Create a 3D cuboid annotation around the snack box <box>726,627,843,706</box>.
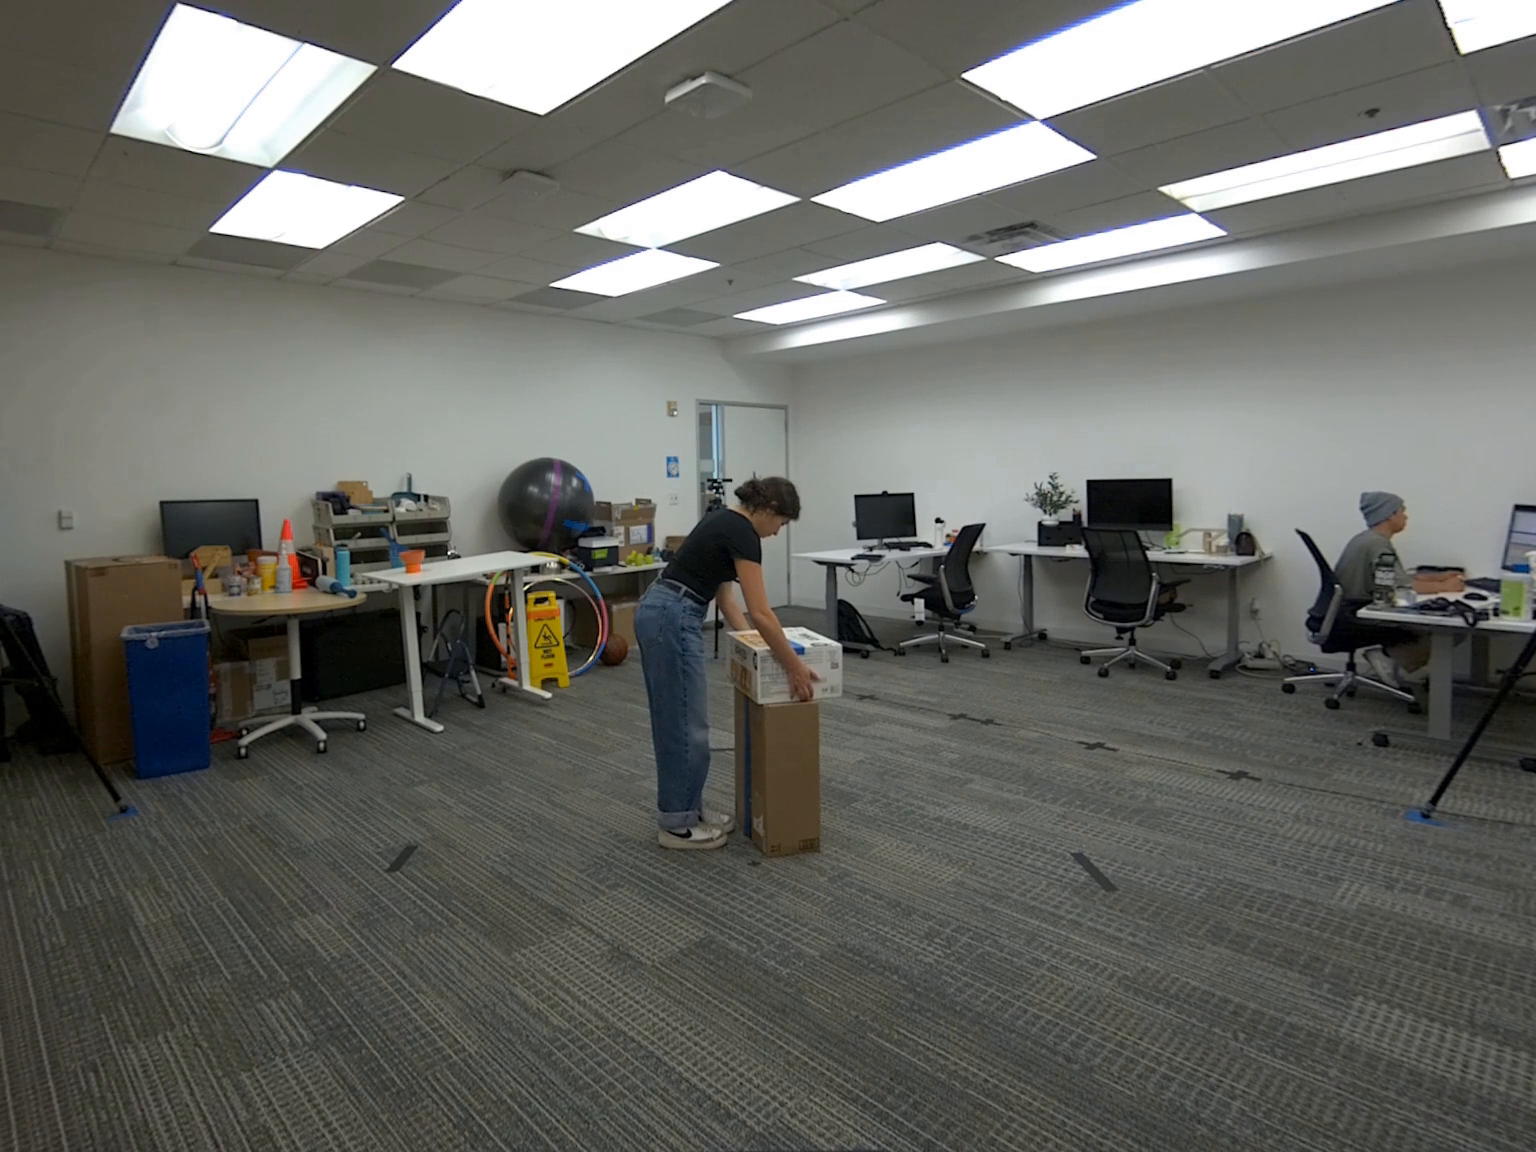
[{"bbox_3d":[0.052,0.341,3.370,0.335,0.205,0.413,-4,7,-18],"label":"snack box"}]
